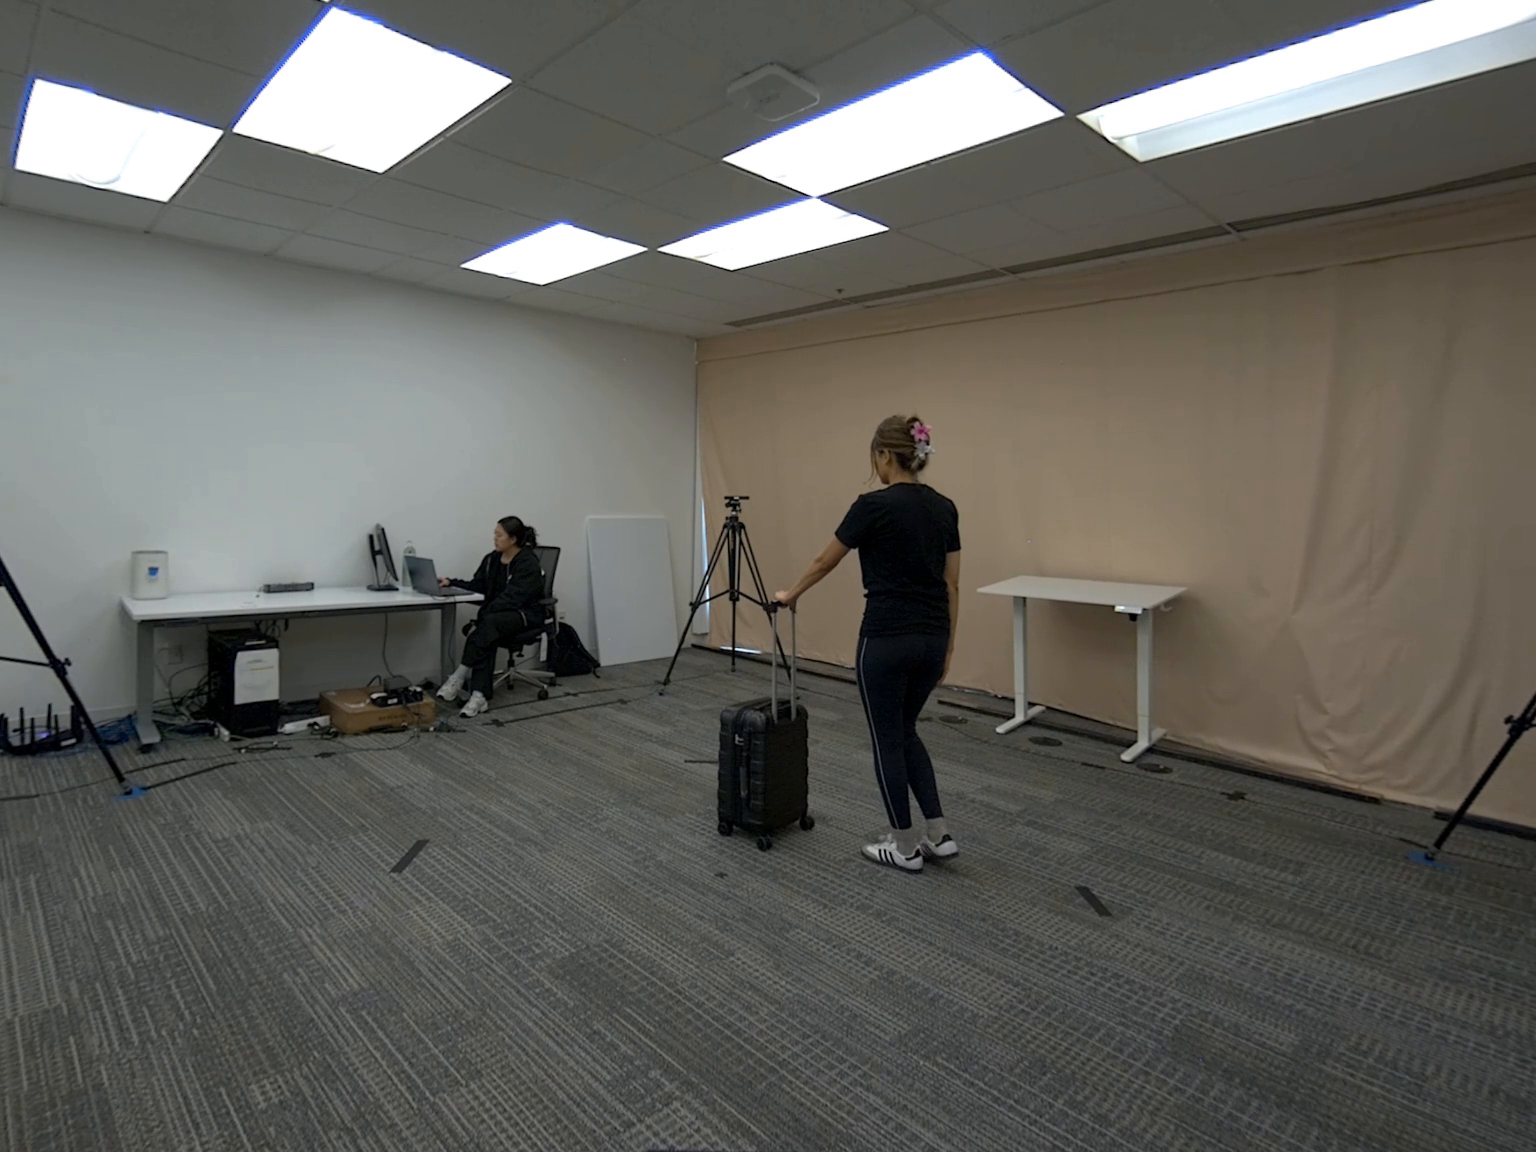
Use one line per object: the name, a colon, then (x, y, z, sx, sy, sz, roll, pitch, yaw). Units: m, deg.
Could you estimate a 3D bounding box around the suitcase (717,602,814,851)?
suitcase: (-0.026, 0.591, 3.525, 0.263, 0.978, 0.375, -1, 0, 41)
